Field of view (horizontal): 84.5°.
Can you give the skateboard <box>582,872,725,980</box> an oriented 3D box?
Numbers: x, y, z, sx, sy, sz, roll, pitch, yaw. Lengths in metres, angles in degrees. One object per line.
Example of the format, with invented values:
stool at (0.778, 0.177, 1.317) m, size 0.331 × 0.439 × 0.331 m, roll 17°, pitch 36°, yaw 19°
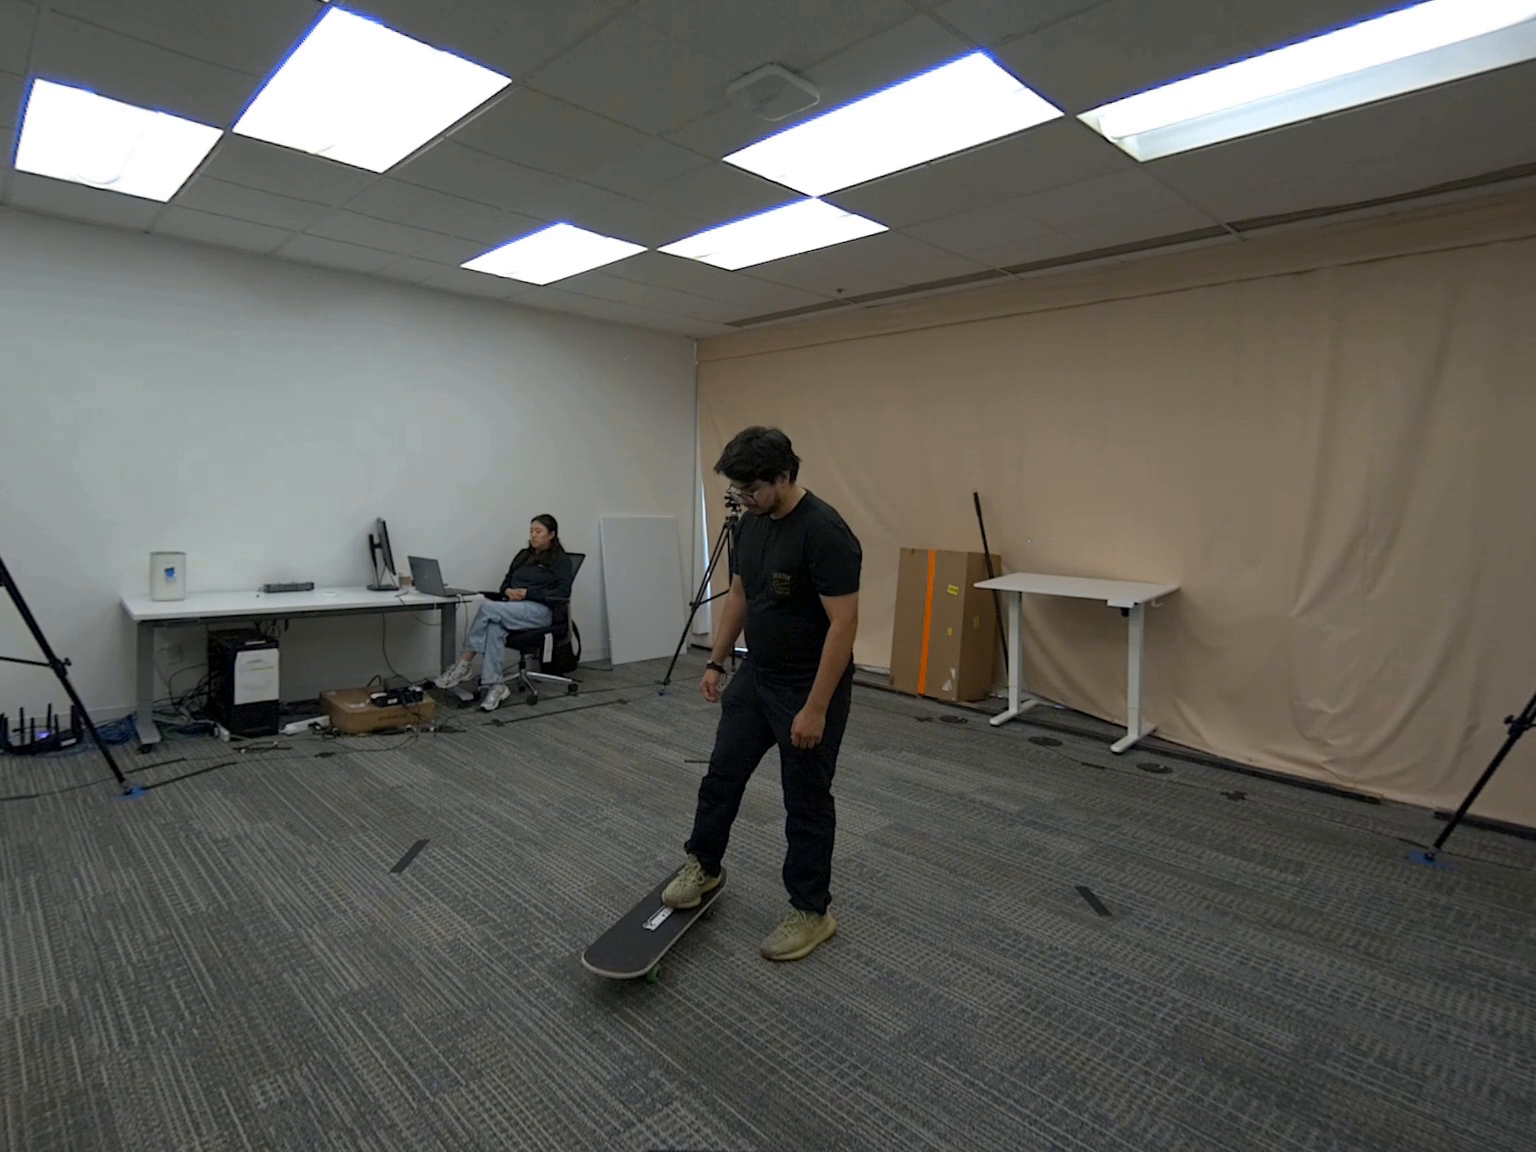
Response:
skateboard at (-0.339, 1.091, 2.613) m, size 0.196 × 0.110 × 0.775 m, roll 8°, pitch 5°, yaw 18°
